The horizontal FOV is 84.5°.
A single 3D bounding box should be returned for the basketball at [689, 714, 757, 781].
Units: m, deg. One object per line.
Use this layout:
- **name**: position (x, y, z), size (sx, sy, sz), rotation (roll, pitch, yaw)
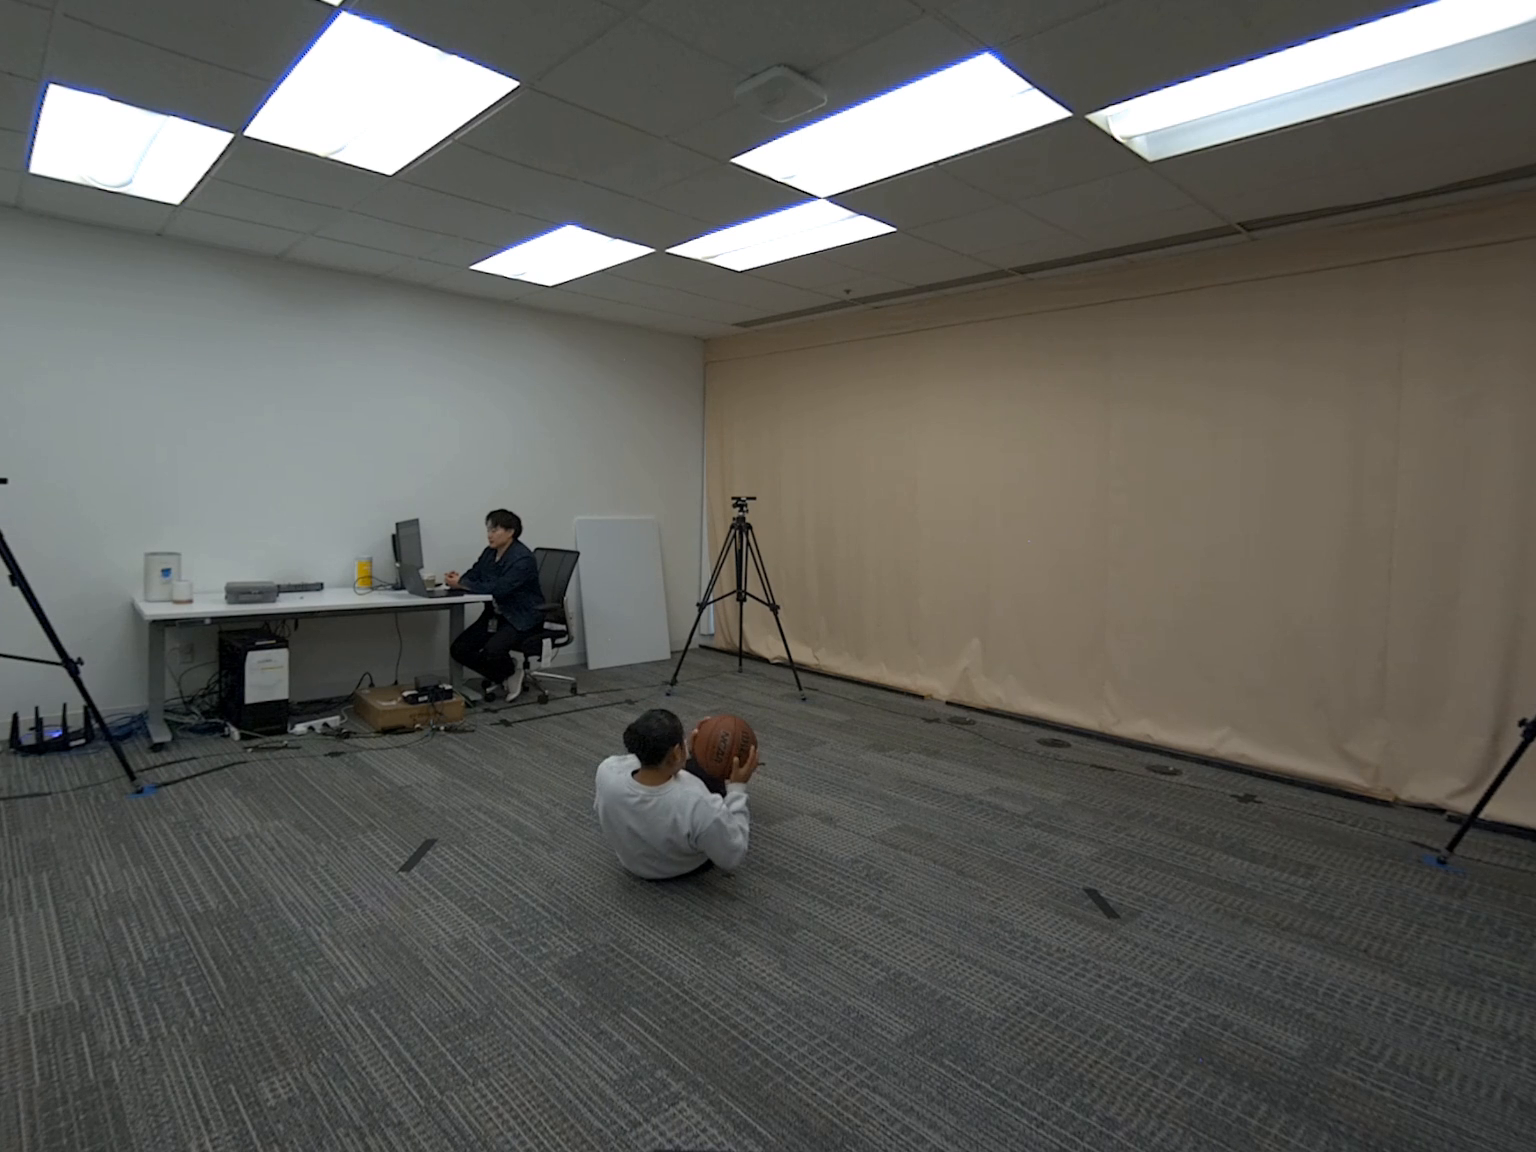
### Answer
- **basketball**: position (-0.179, 0.652, 3.155), size (0.236, 0.235, 0.237), rotation (1, 4, -1)
